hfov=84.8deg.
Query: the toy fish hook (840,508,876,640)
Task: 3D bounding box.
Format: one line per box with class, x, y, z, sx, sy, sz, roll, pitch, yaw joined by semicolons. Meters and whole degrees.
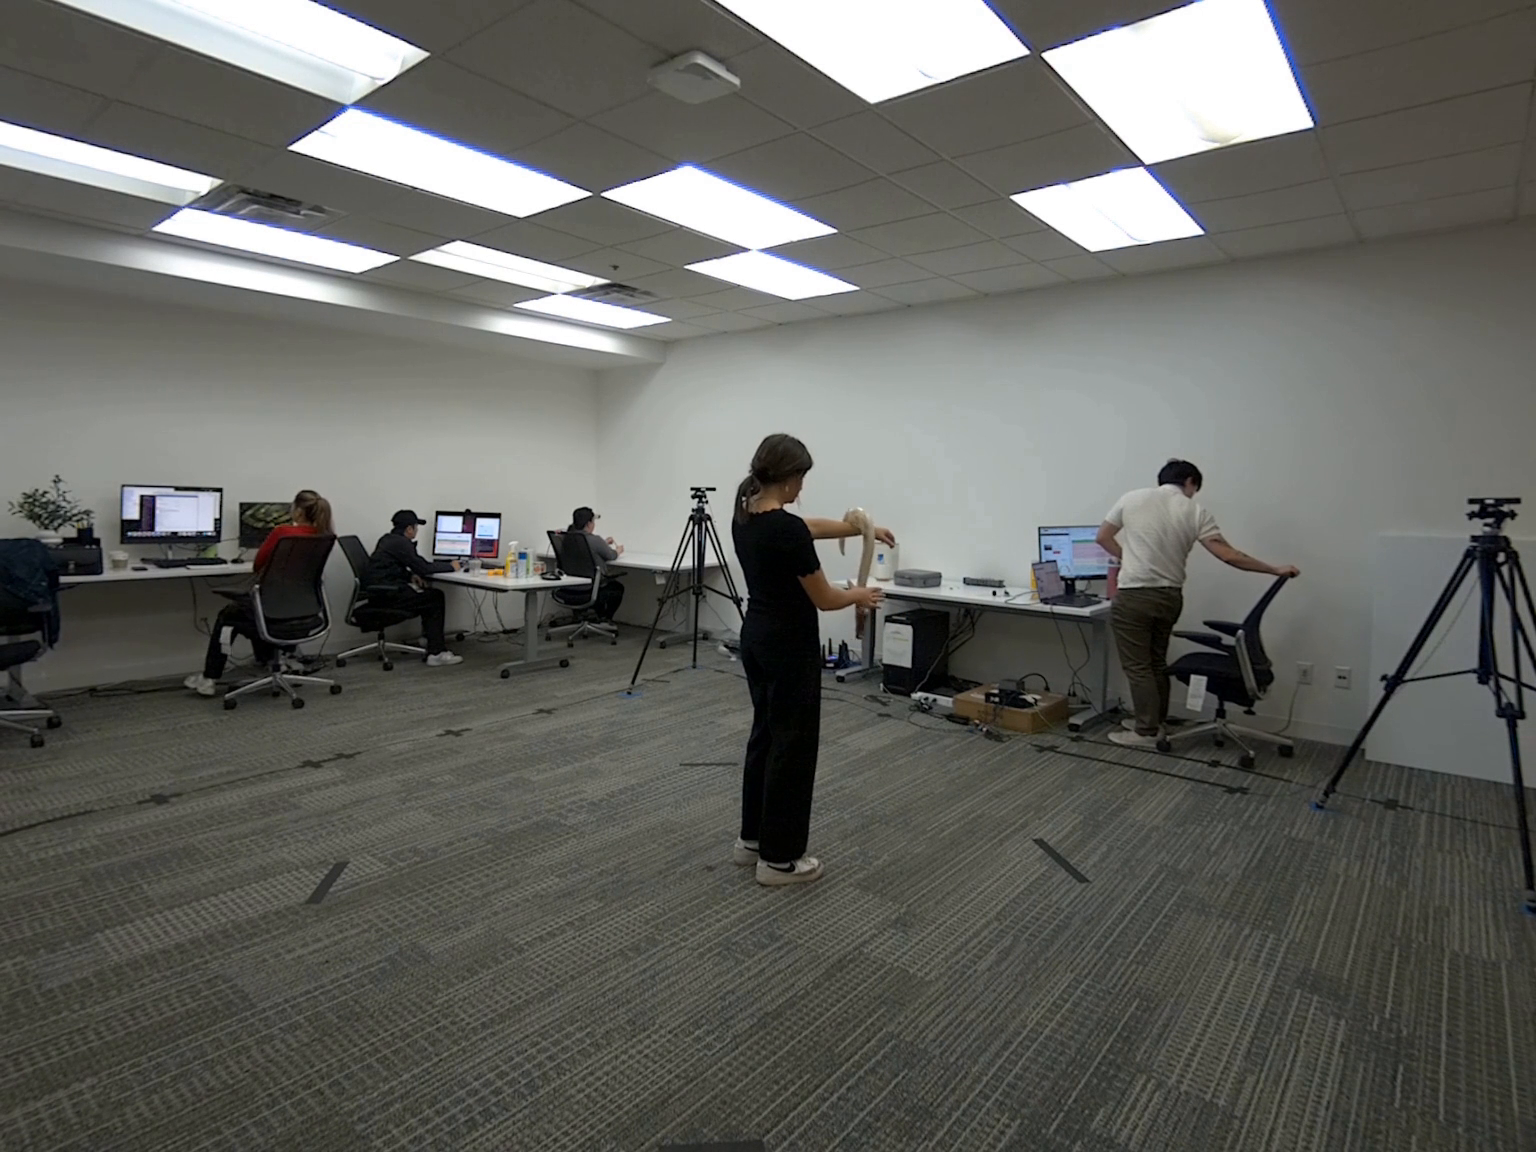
toy fish hook;0.328;-0.013;3.331;0.047;0.504;0.231;0;6;-25
